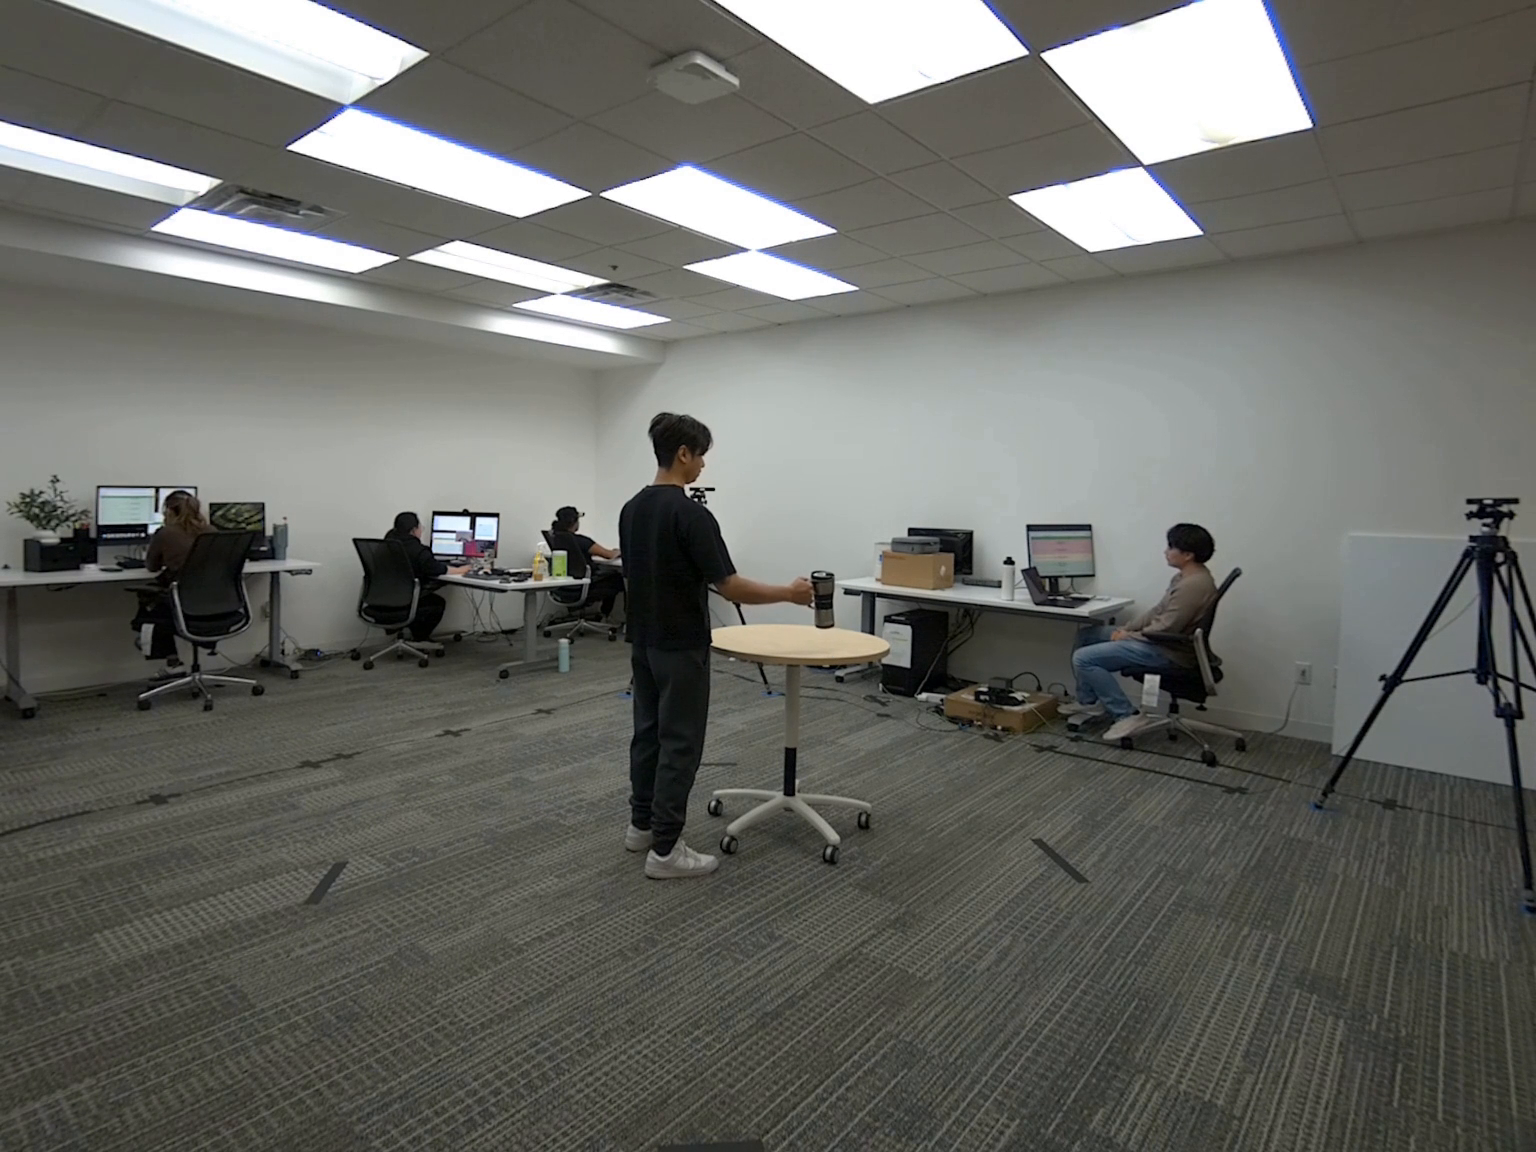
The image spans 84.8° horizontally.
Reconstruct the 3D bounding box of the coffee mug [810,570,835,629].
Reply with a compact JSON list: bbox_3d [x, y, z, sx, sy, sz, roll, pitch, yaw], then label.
[{"bbox_3d":[0.181,0.085,3.147,0.126,0.200,0.086,6,15,33],"label":"coffee mug"}]
